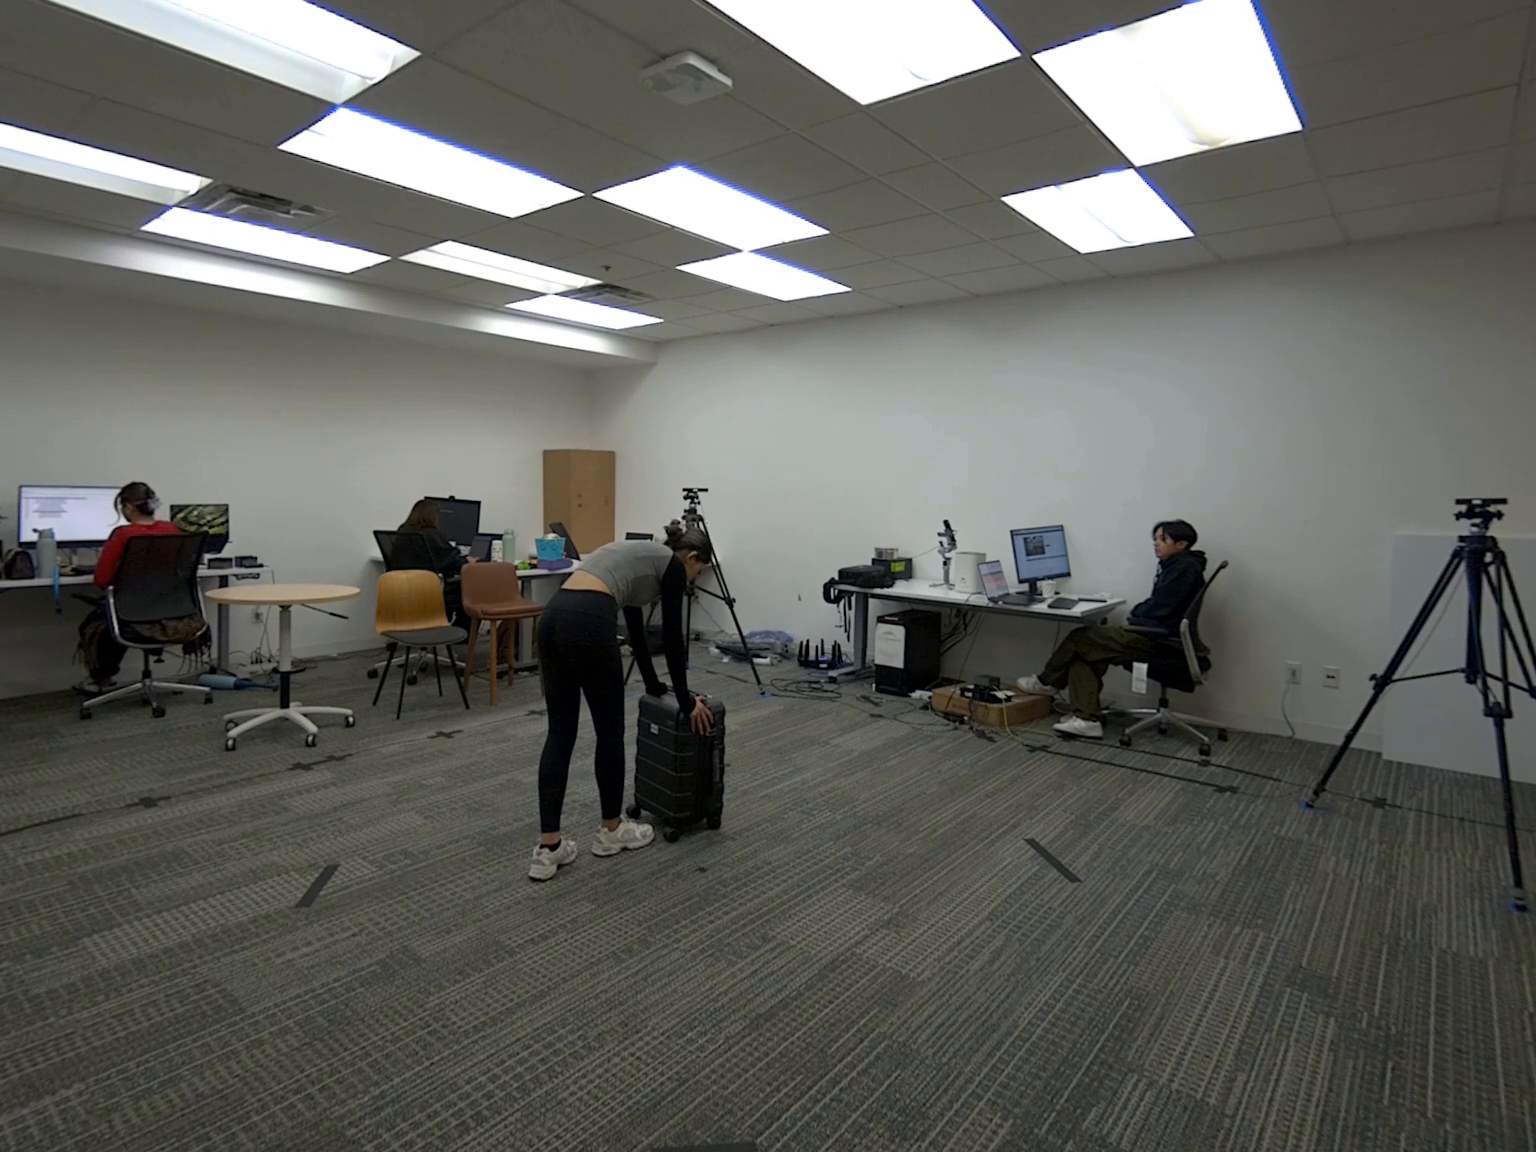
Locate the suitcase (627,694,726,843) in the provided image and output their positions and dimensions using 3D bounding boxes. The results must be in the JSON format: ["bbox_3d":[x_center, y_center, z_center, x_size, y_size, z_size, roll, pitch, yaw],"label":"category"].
[{"bbox_3d":[-0.375,0.750,3.542,0.241,0.548,0.388,0,3,-39],"label":"suitcase"}]
